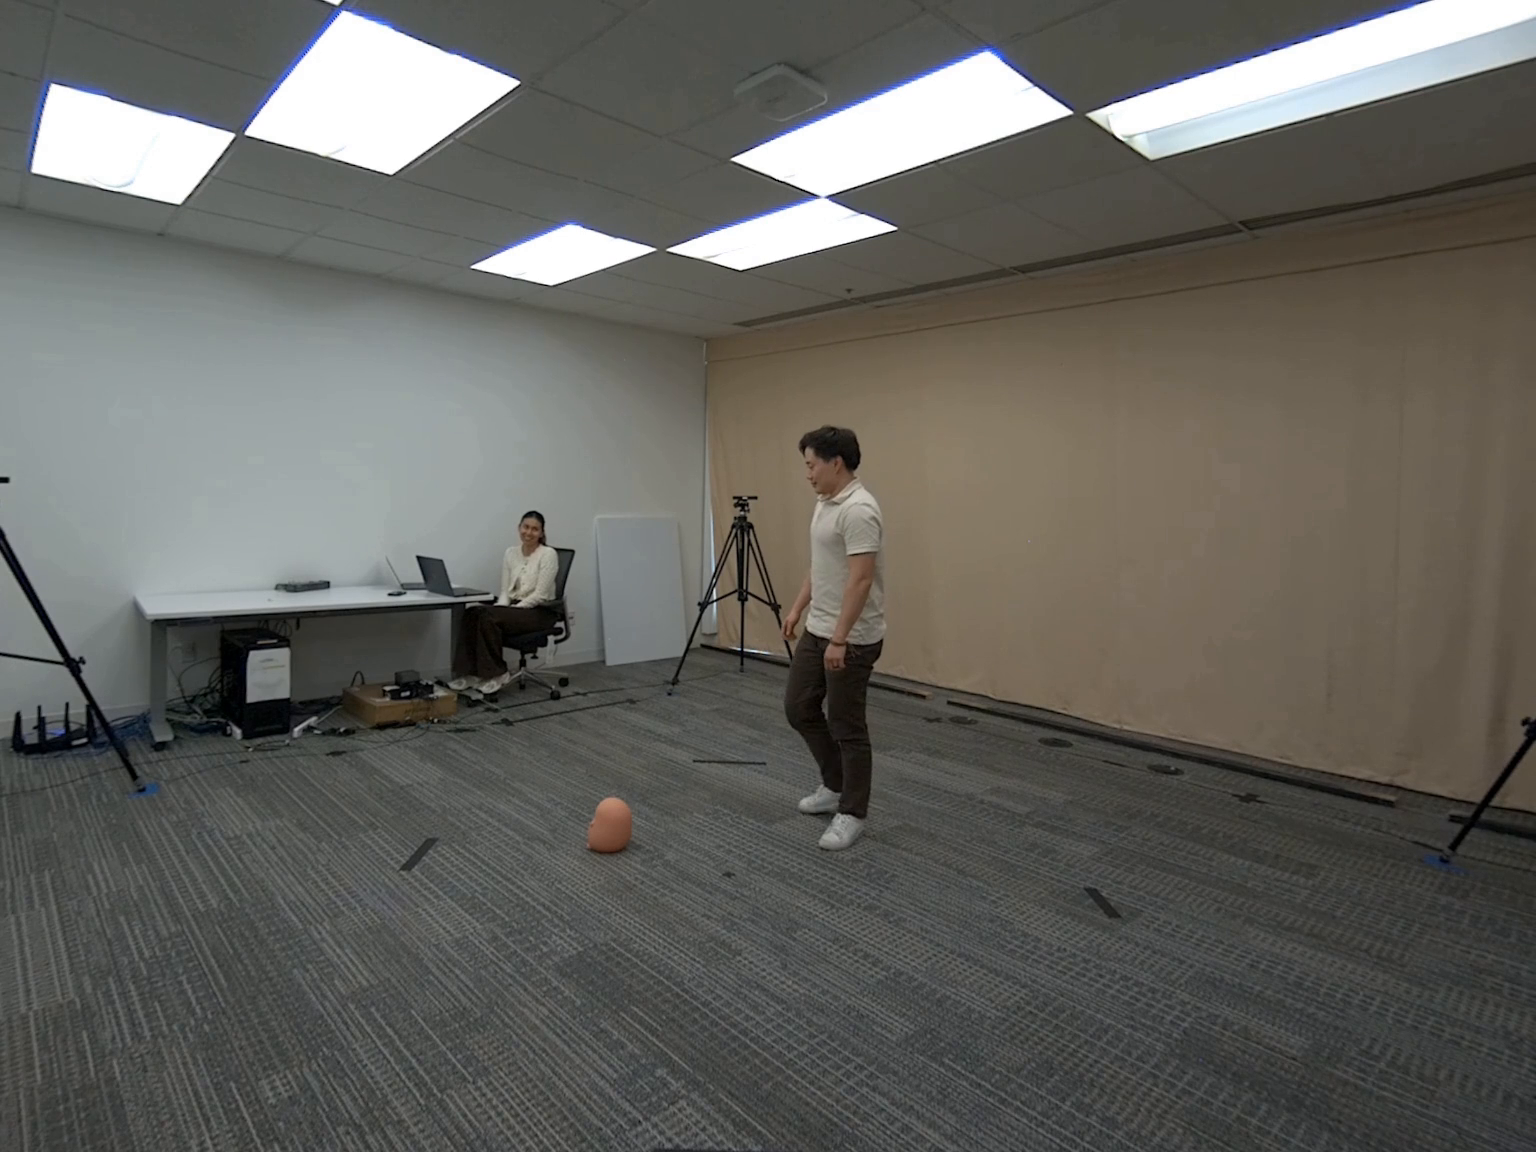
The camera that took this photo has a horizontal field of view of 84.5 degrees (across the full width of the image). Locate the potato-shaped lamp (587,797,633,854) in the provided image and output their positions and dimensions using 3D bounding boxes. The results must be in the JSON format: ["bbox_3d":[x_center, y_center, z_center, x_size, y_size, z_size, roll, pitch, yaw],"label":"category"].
[{"bbox_3d":[-0.631,0.977,3.311,0.174,0.197,0.163,2,5,20],"label":"potato-shaped lamp"}]
